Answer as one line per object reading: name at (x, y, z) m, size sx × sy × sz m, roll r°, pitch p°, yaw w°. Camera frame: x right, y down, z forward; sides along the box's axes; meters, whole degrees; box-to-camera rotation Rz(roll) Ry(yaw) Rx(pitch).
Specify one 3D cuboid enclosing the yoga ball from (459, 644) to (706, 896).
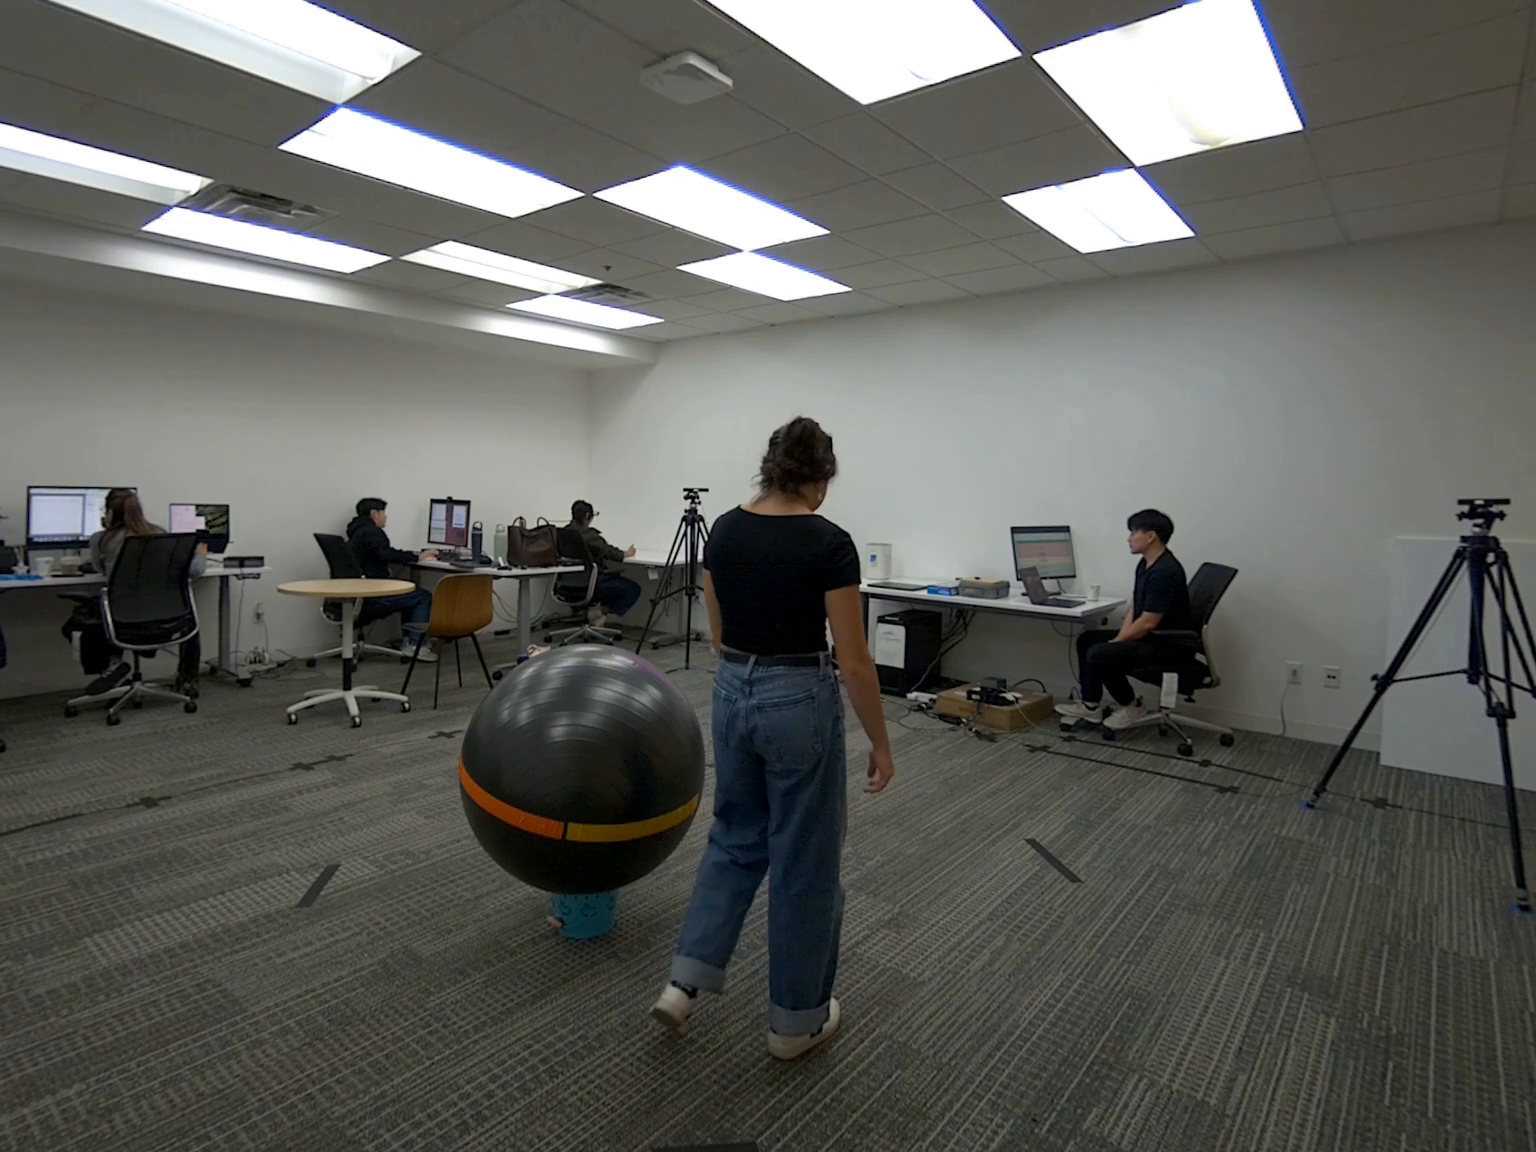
yoga ball at (-0.585, 0.593, 2.675) m, size 0.757 × 0.755 × 0.762 m, roll 1°, pitch 4°, yaw -2°
